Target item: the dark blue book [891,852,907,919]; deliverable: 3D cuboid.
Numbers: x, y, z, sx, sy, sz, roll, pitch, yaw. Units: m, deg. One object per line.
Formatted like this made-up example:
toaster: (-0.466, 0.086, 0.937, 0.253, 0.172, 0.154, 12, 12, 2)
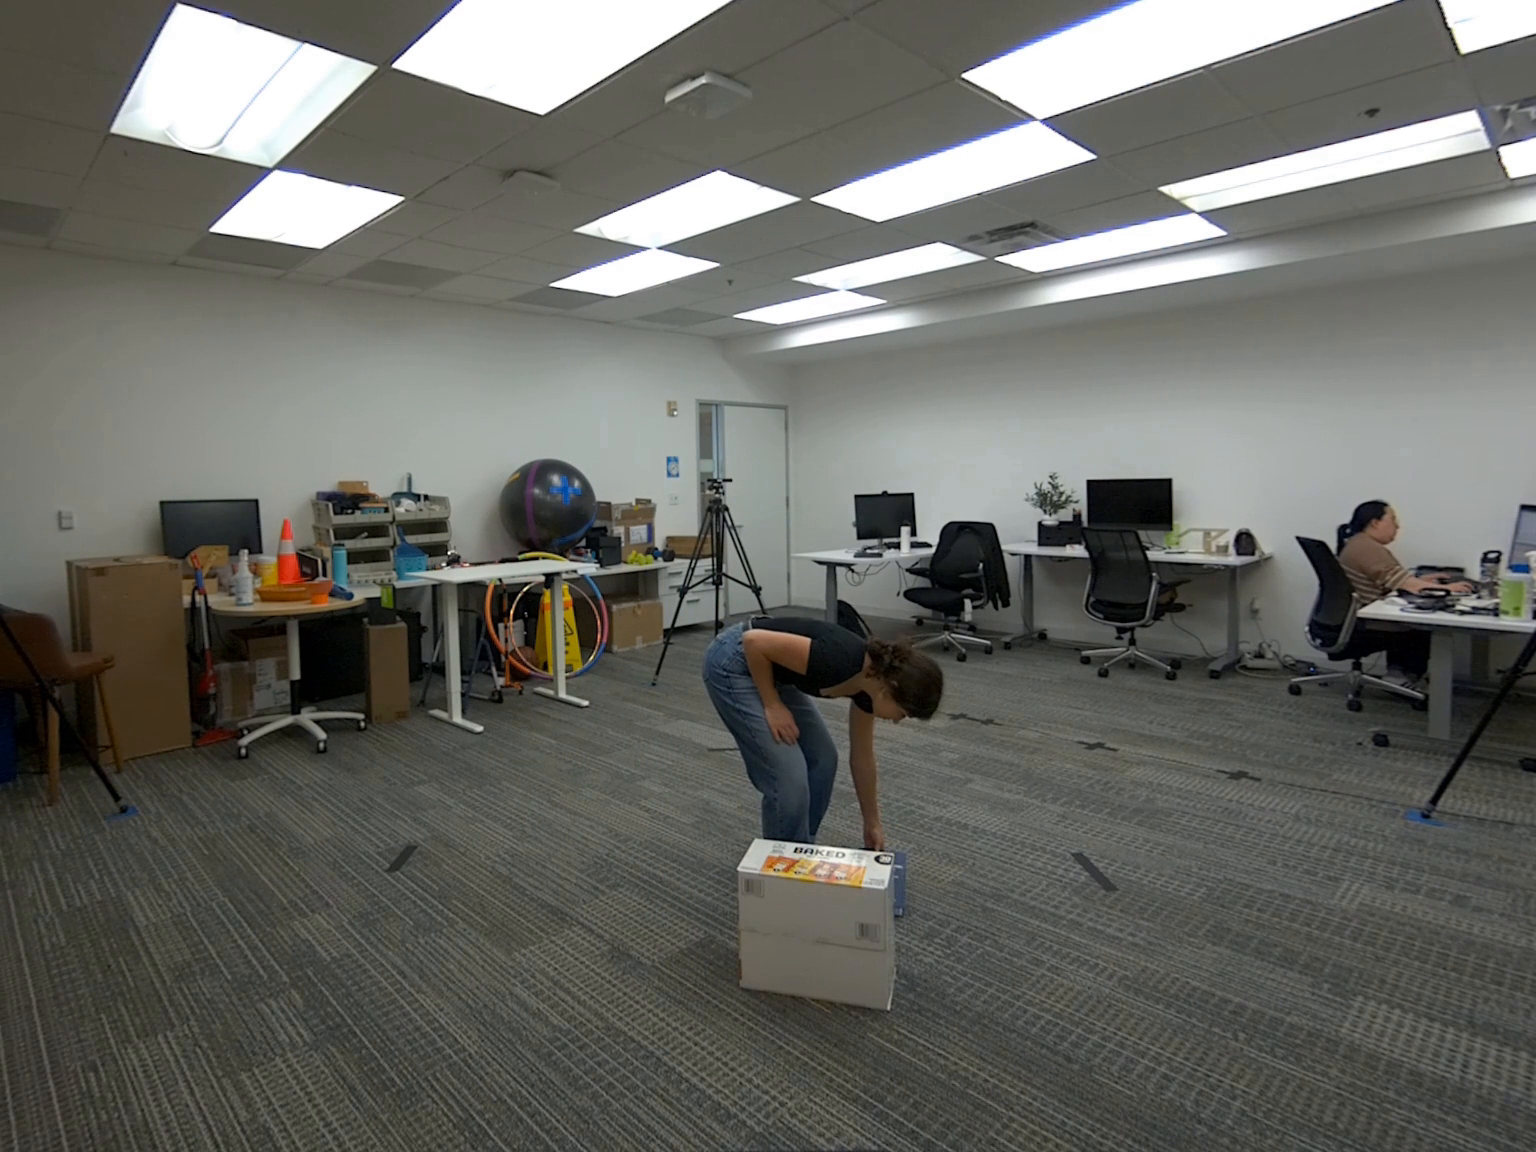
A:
dark blue book: (0.373, 1.010, 2.819, 0.165, 0.044, 0.247, 0, 24, 12)
